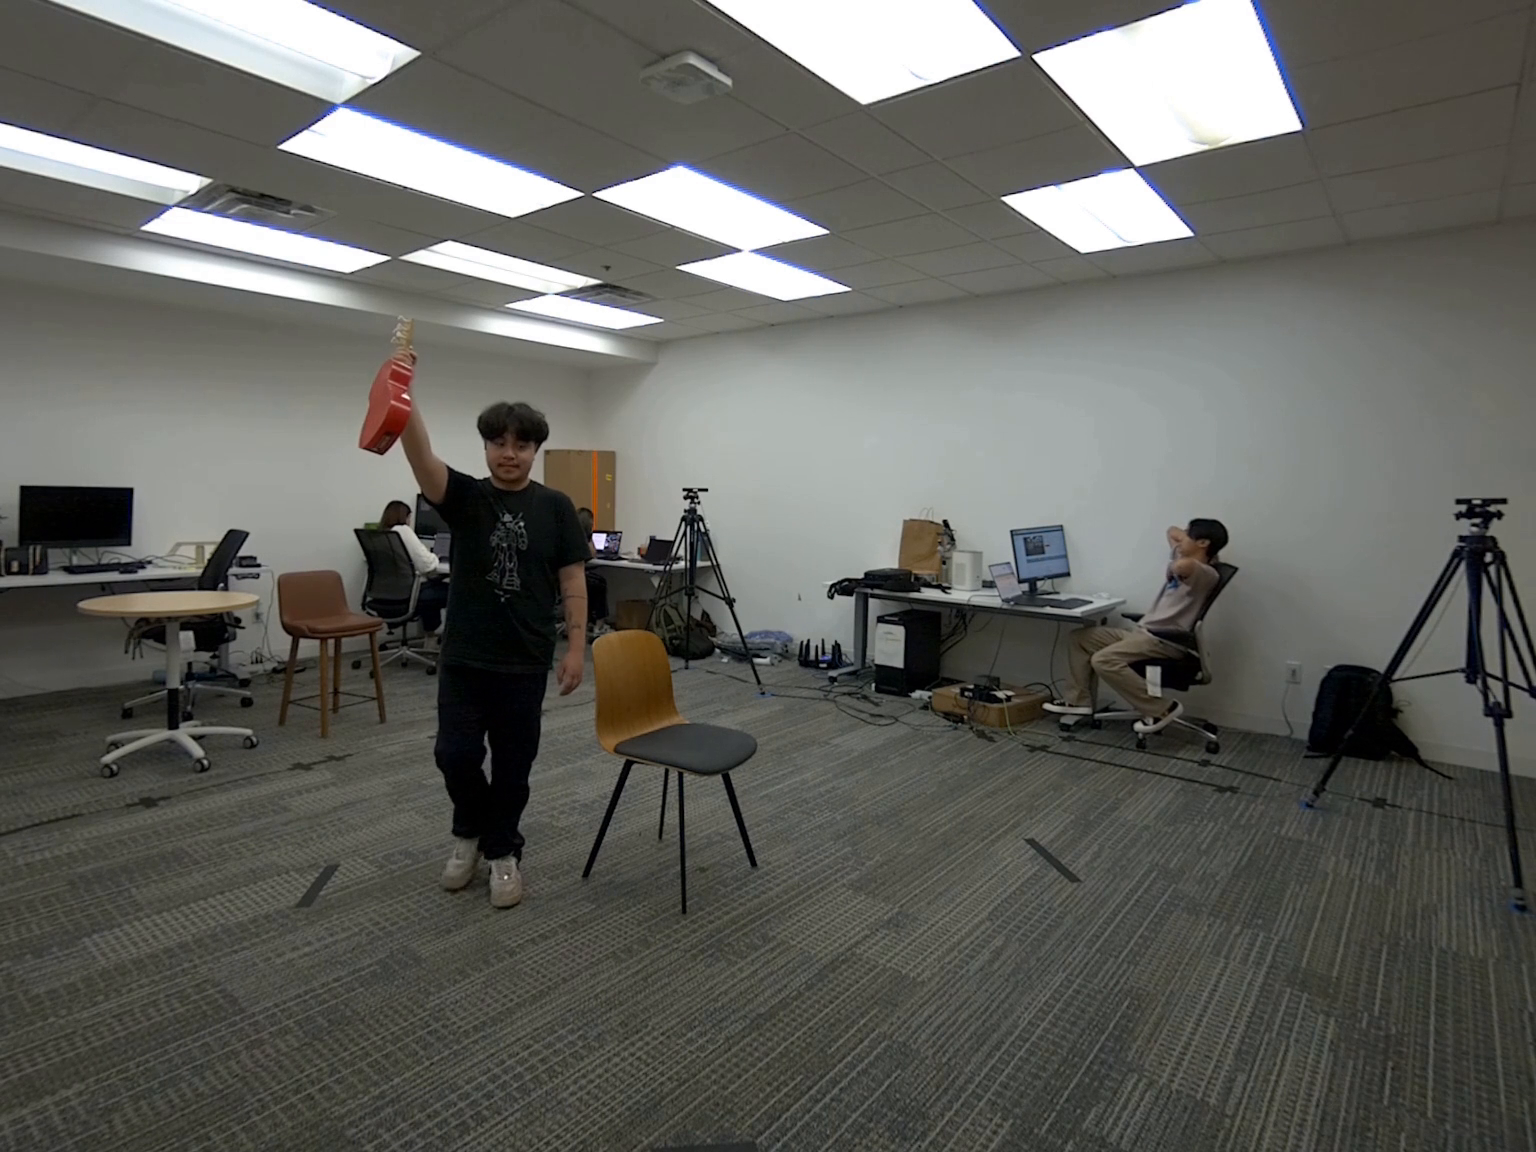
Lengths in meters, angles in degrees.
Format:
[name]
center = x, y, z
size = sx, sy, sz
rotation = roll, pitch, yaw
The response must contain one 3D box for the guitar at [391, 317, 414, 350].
[guitar]
center = -1.085, -0.551, 2.432
size = 0.068, 0.516, 0.193
rotation = 20, -52, -38
